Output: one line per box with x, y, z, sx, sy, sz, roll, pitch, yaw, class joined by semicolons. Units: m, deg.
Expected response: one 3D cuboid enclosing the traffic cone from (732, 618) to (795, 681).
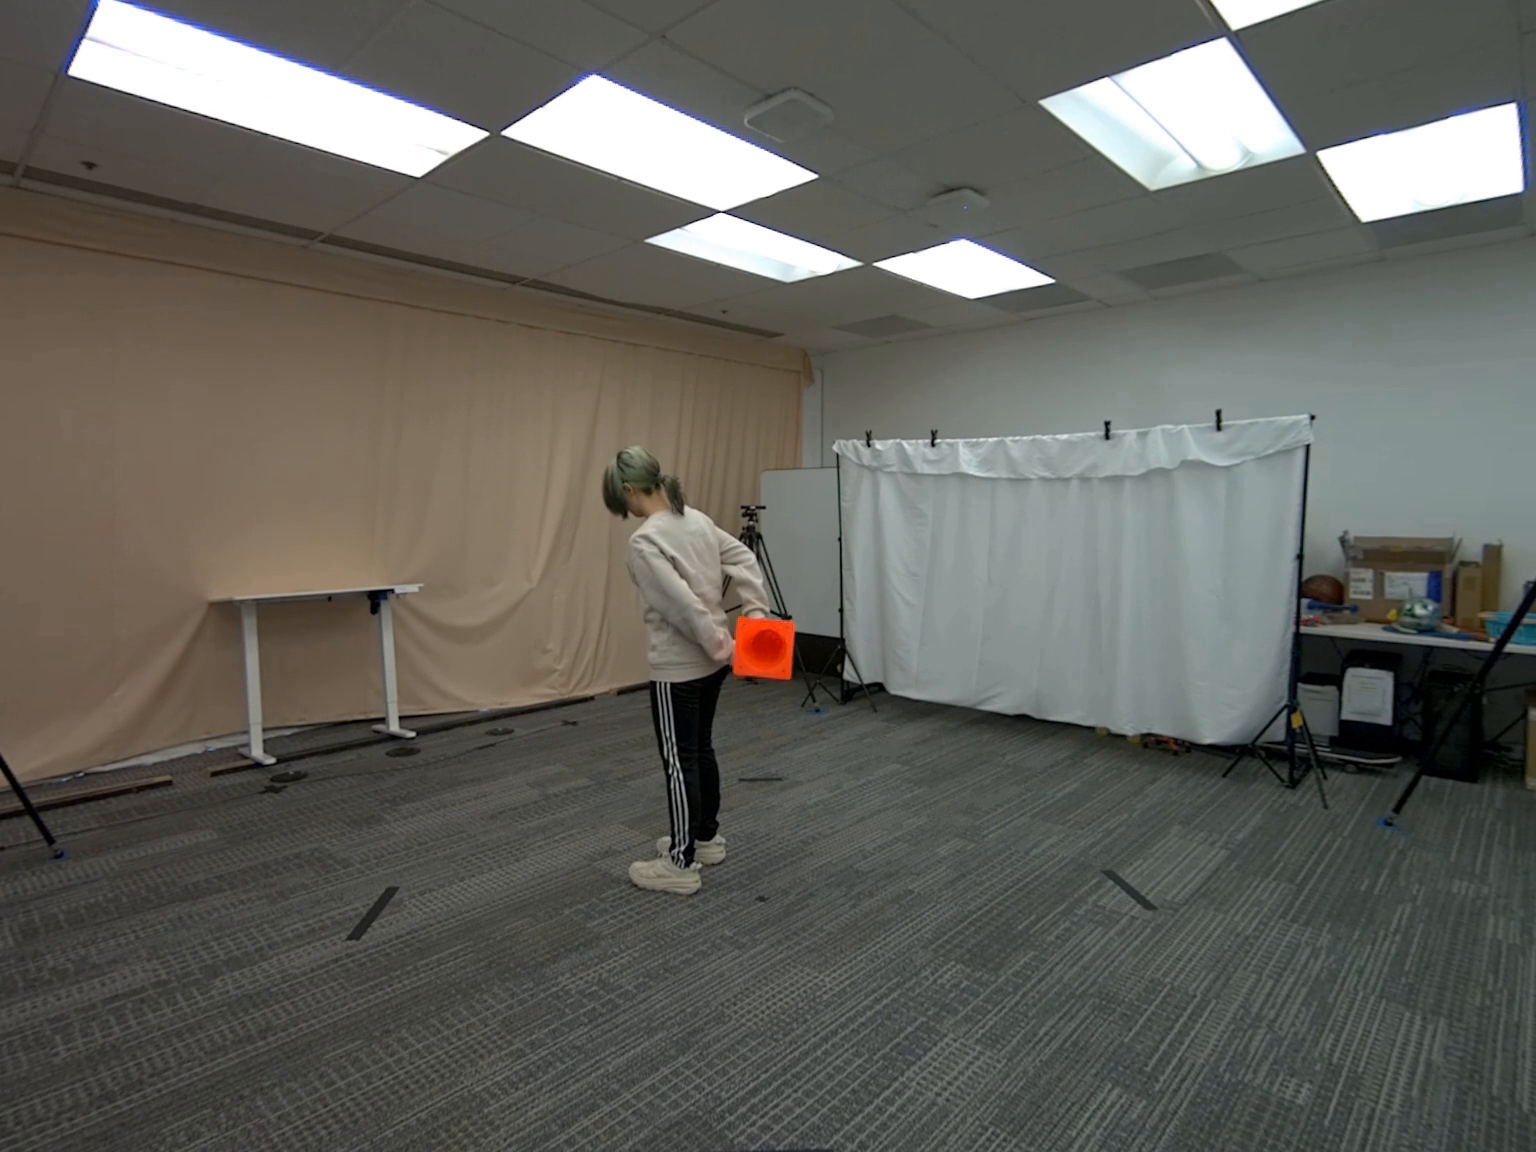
0.022;0.248;3.065;0.205;0.205;0.379;7;1;8;traffic cone
